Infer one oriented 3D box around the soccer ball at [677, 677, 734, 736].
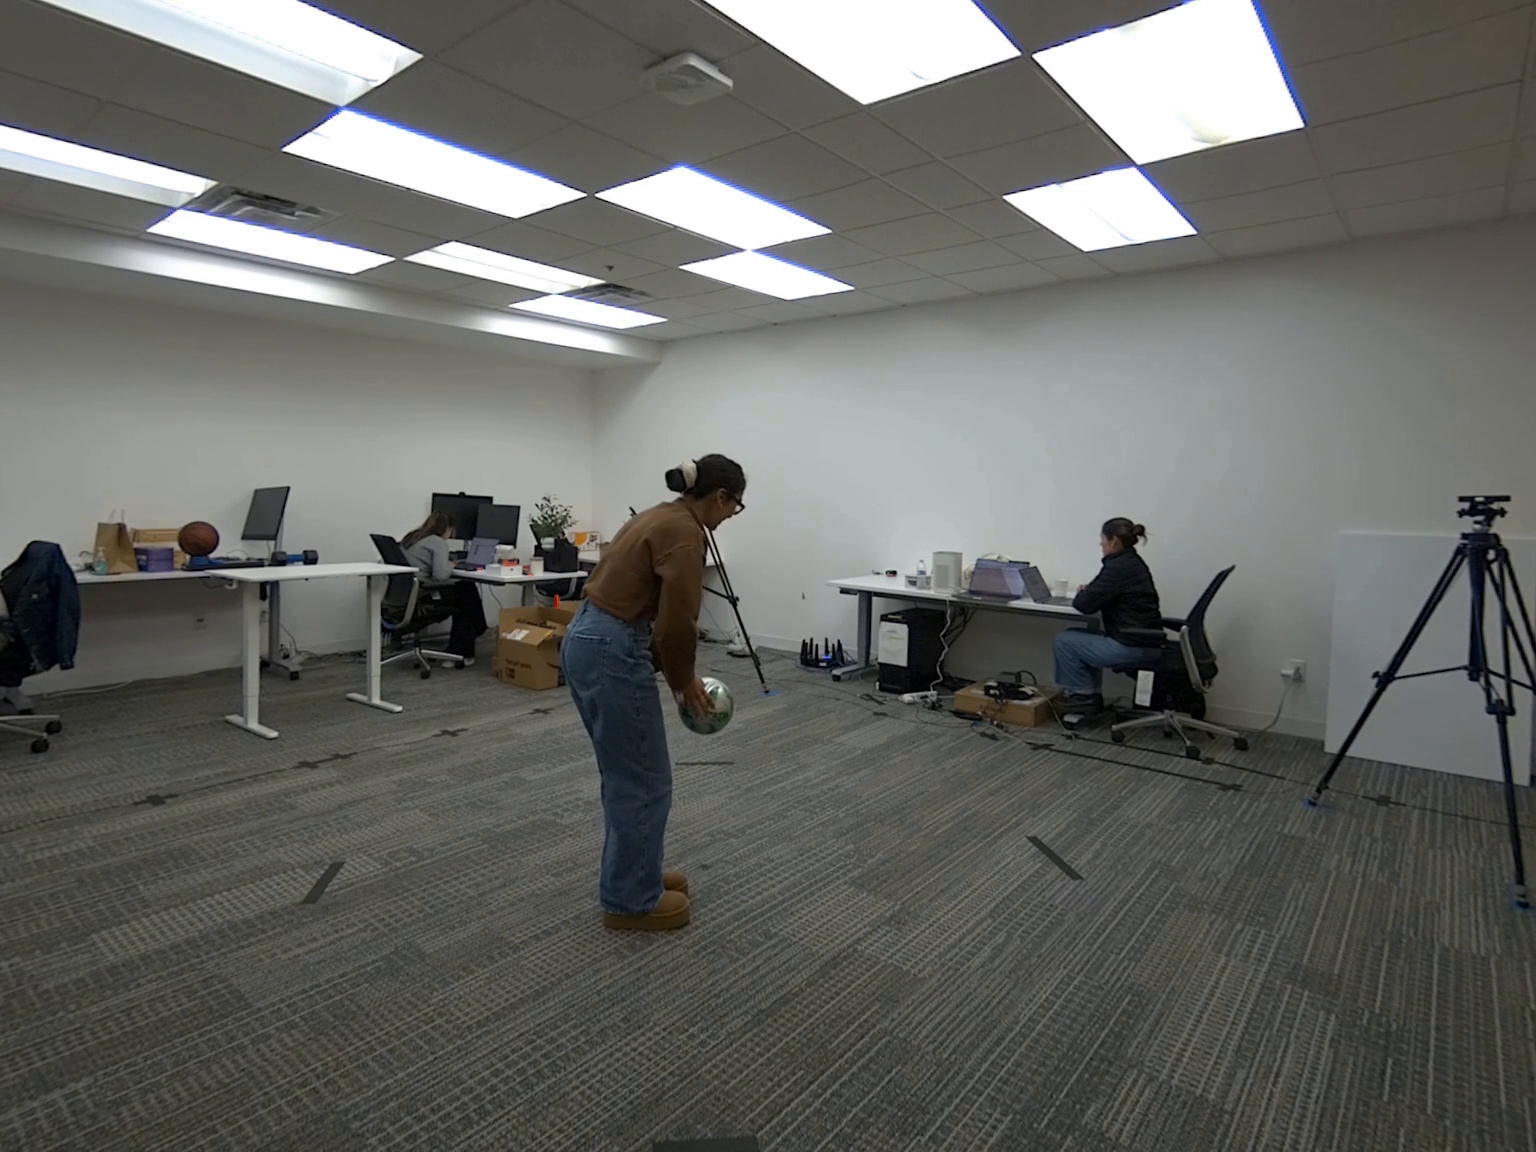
[{"bbox_3d":[-0.211,0.427,2.815,0.187,0.187,0.188,1,4,-2],"label":"soccer ball"}]
